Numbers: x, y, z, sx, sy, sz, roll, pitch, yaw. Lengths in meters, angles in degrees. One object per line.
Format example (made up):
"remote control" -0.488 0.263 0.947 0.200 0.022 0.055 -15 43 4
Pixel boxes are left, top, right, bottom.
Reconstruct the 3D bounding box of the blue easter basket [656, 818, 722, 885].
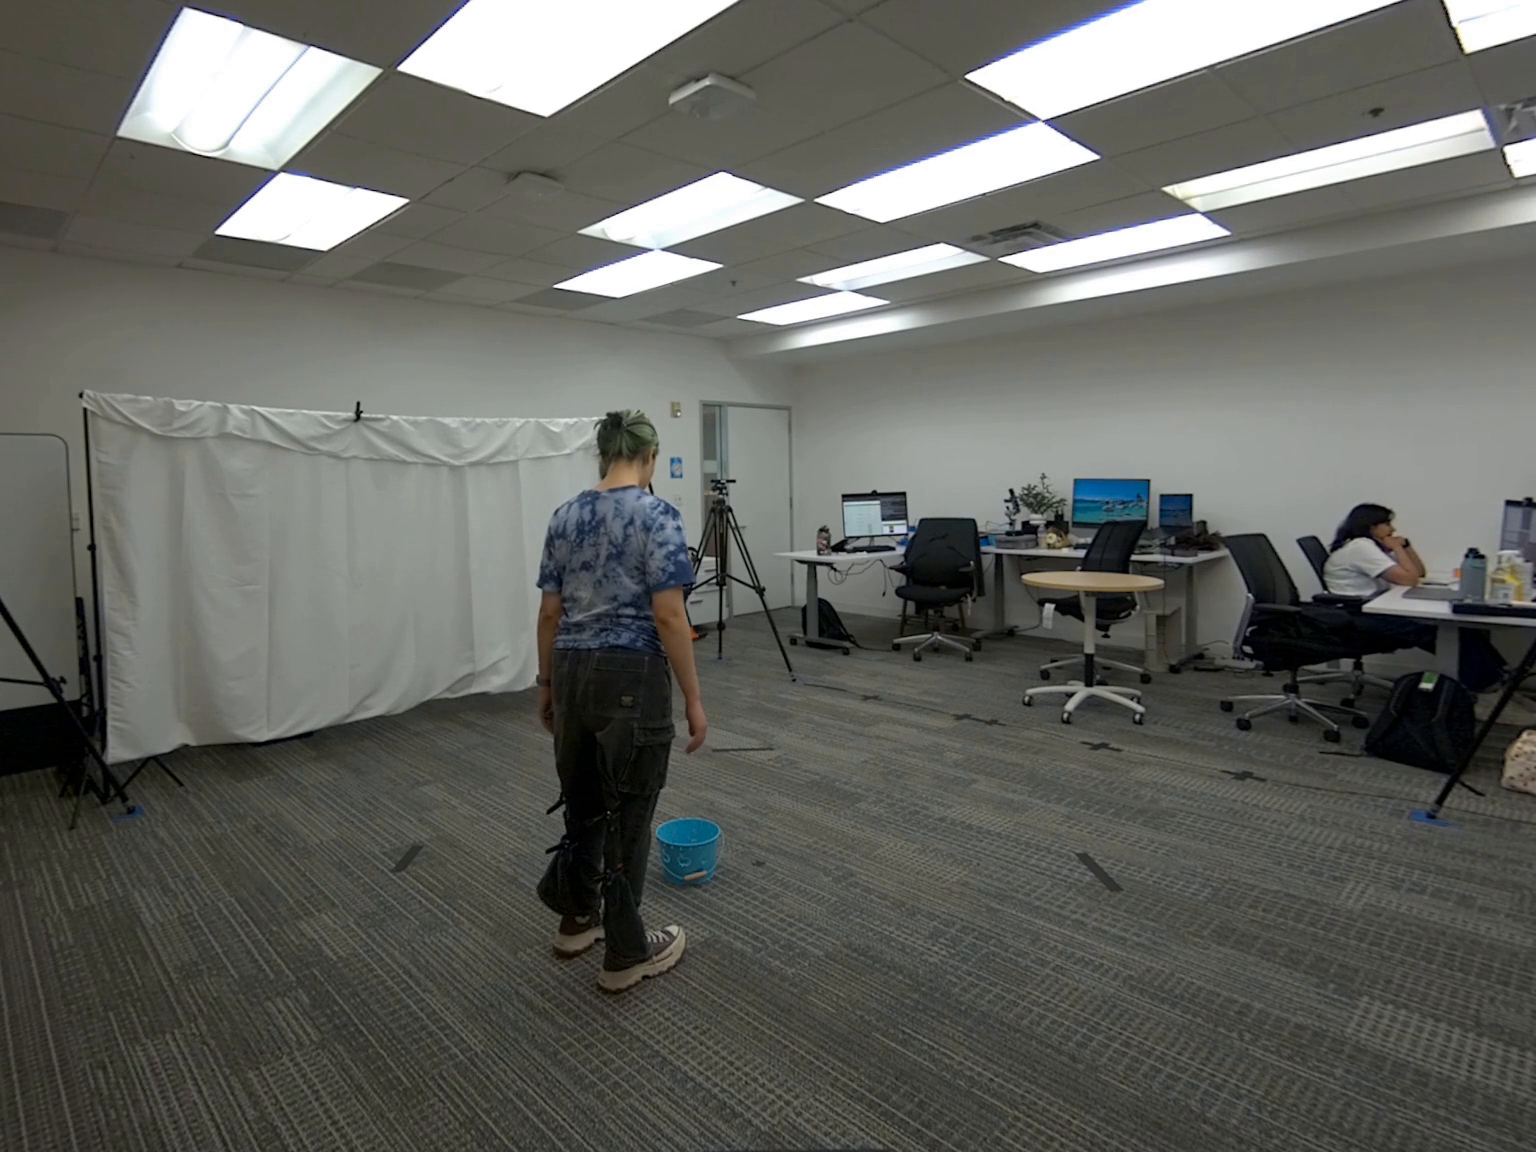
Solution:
"blue easter basket" -0.285 0.978 3.040 0.243 0.155 0.245 -1 6 -2
